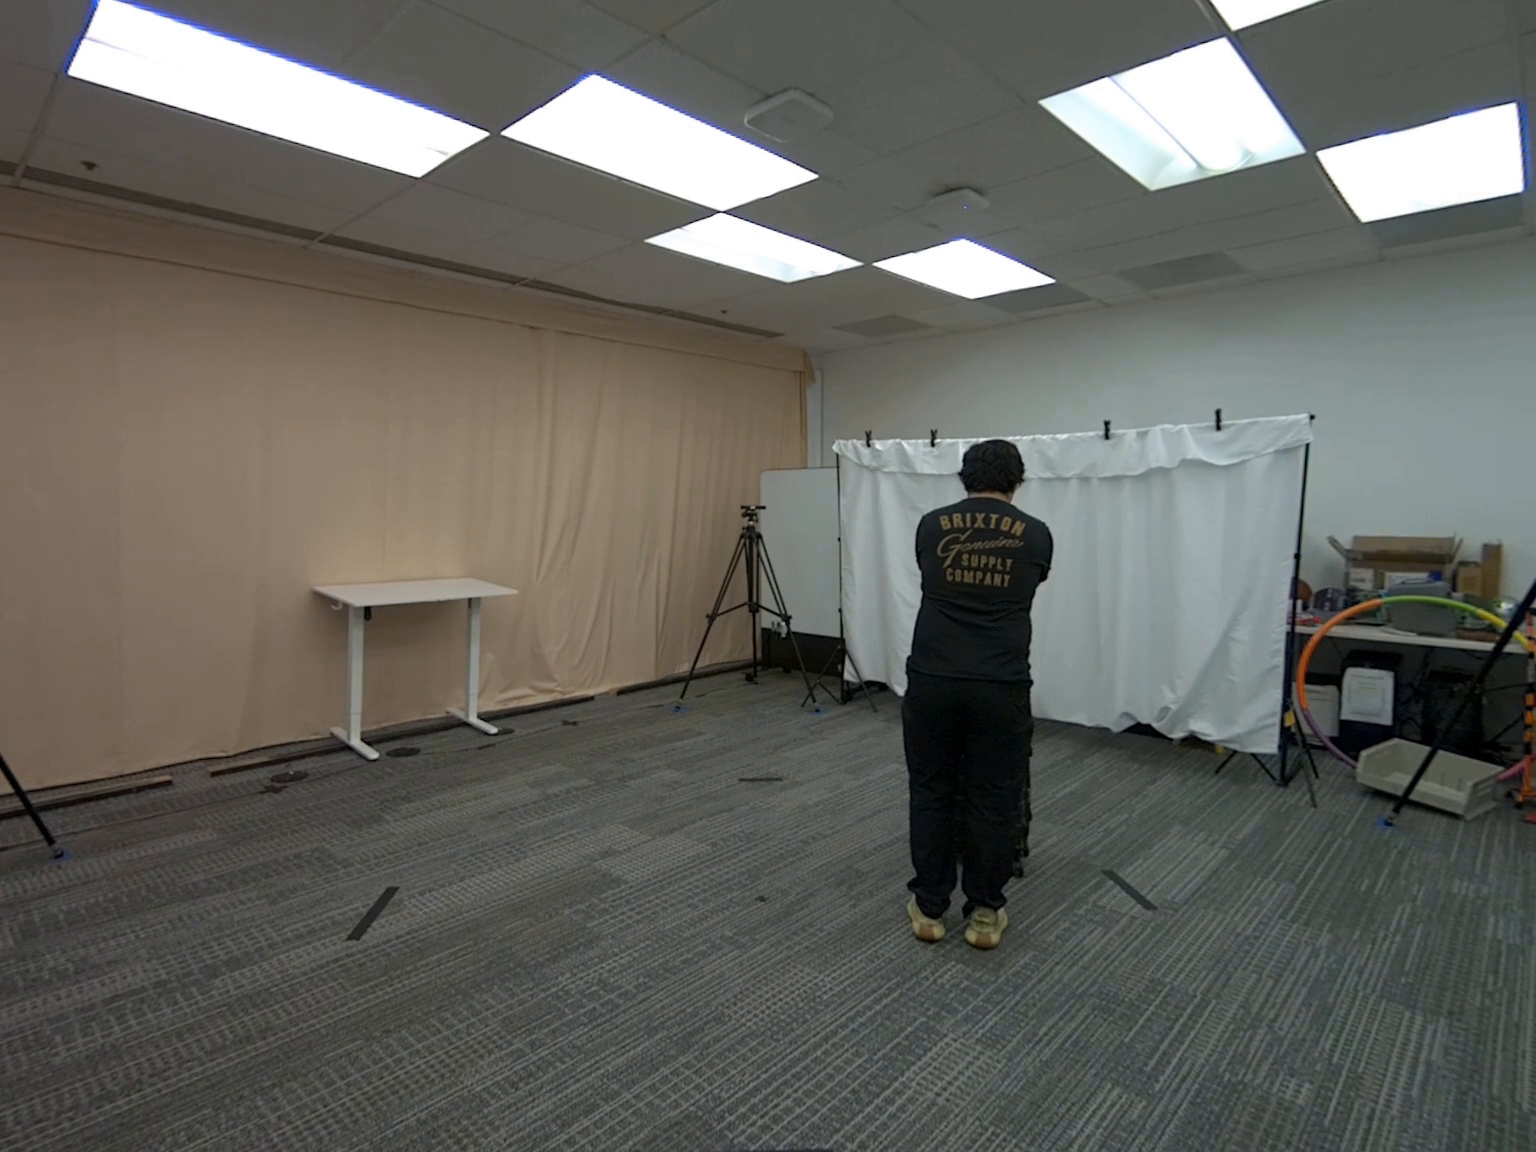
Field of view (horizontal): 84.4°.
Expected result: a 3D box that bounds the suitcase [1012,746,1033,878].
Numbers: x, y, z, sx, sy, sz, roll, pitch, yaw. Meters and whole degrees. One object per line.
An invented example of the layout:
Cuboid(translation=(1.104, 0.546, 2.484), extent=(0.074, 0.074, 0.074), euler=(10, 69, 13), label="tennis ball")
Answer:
Cuboid(translation=(0.843, 0.638, 3.332), extent=(0.392, 0.979, 0.251), euler=(0, -1, 21), label="suitcase")
